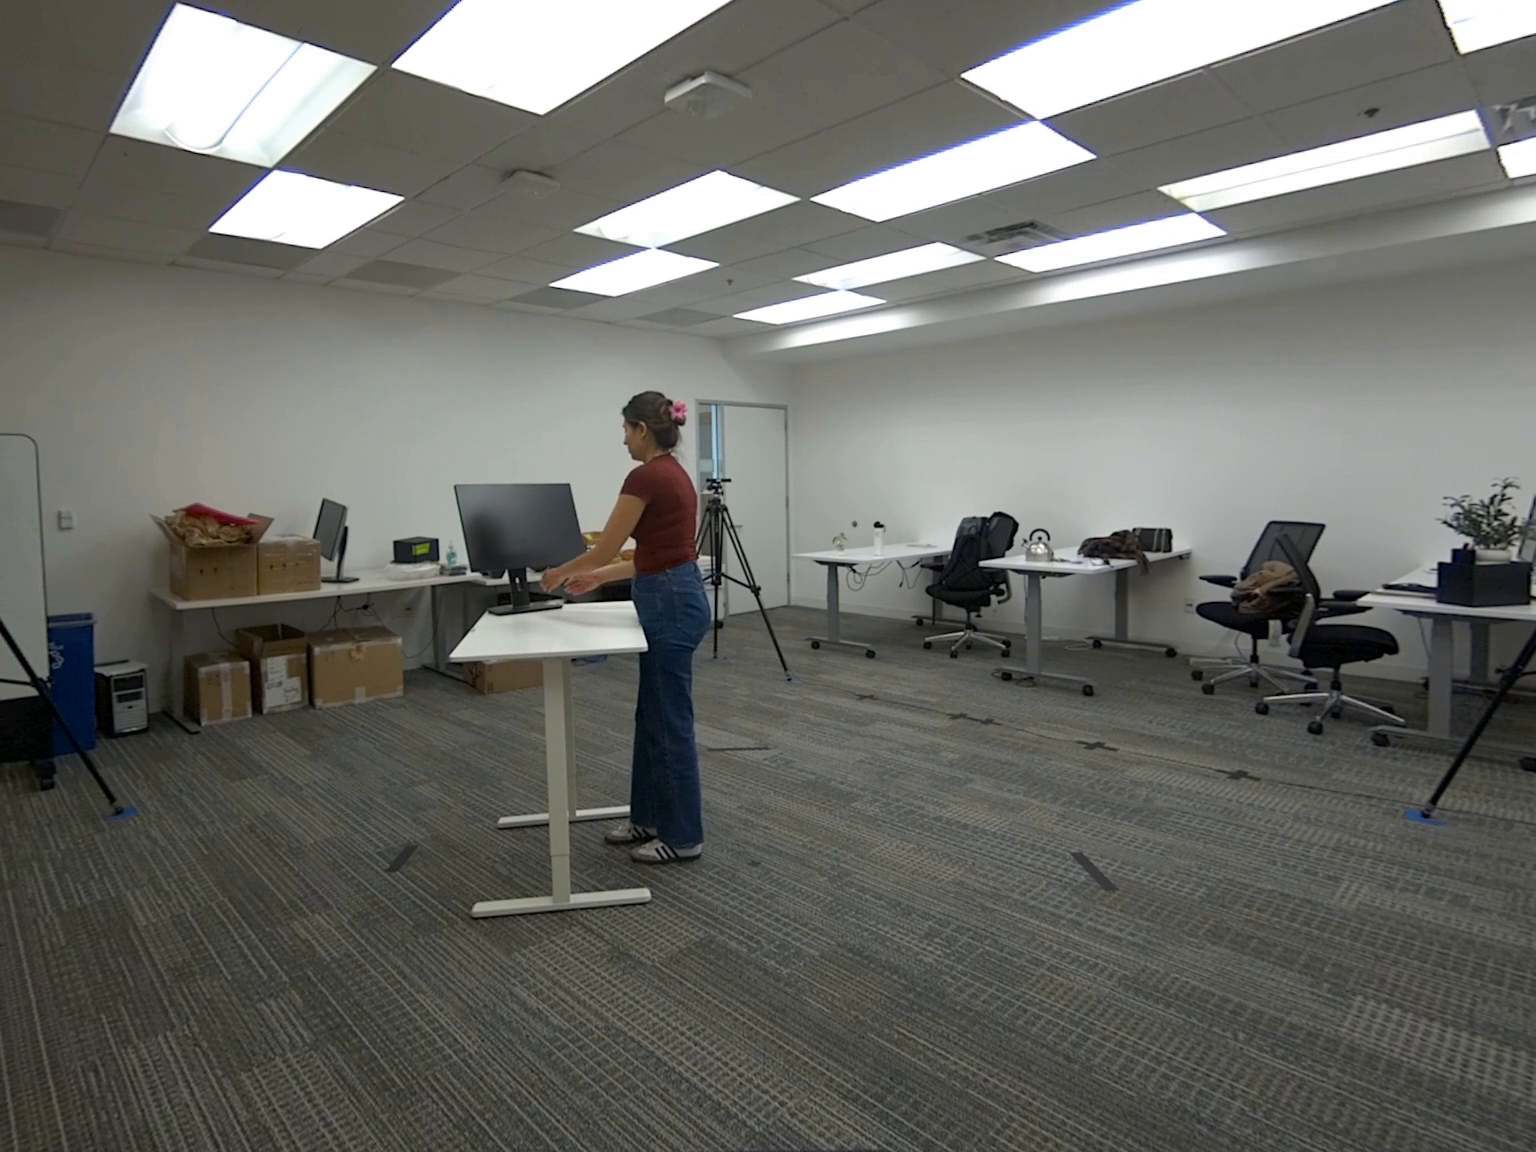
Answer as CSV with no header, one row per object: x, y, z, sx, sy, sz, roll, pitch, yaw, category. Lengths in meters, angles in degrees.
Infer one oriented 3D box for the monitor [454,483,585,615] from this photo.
-1.006,-0.117,3.481,0.192,0.522,0.525,-2,2,40,monitor
